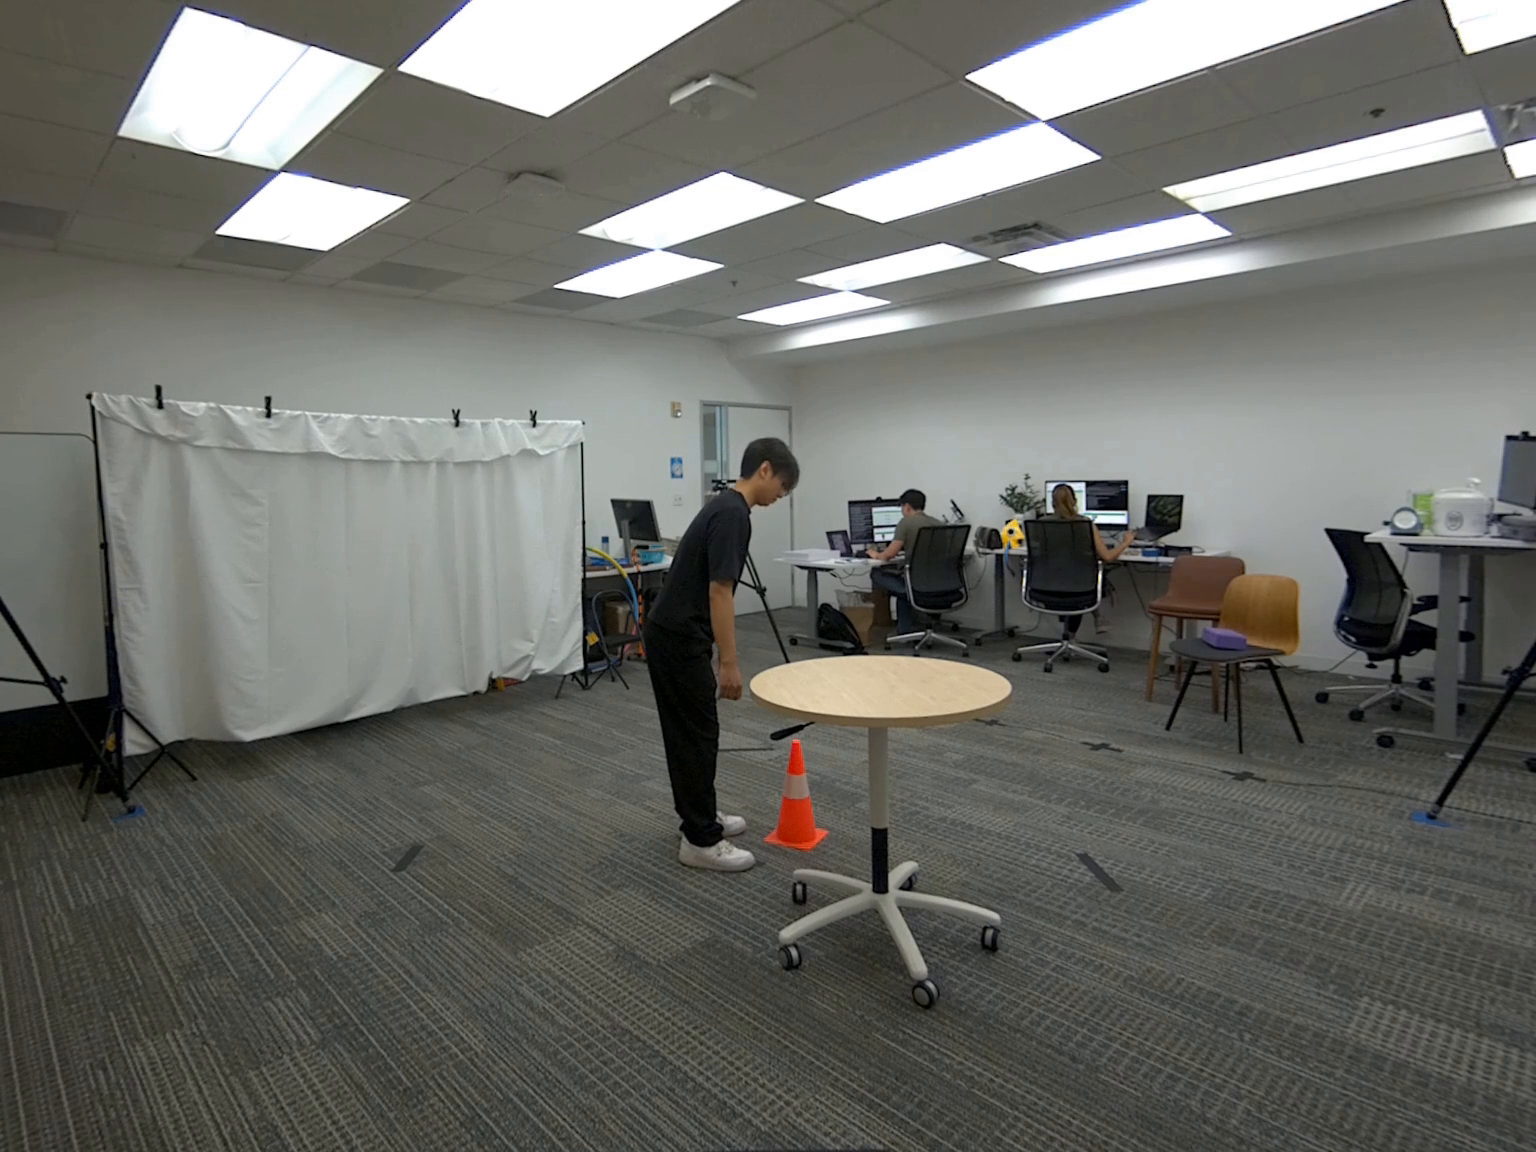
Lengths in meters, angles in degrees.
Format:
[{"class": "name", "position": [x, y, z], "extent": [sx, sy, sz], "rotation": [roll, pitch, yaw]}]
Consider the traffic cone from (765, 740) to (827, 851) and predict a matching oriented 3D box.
[{"class": "traffic cone", "position": [0.107, 0.831, 3.327], "extent": [0.210, 0.382, 0.199], "rotation": [2, 6, 29]}]
